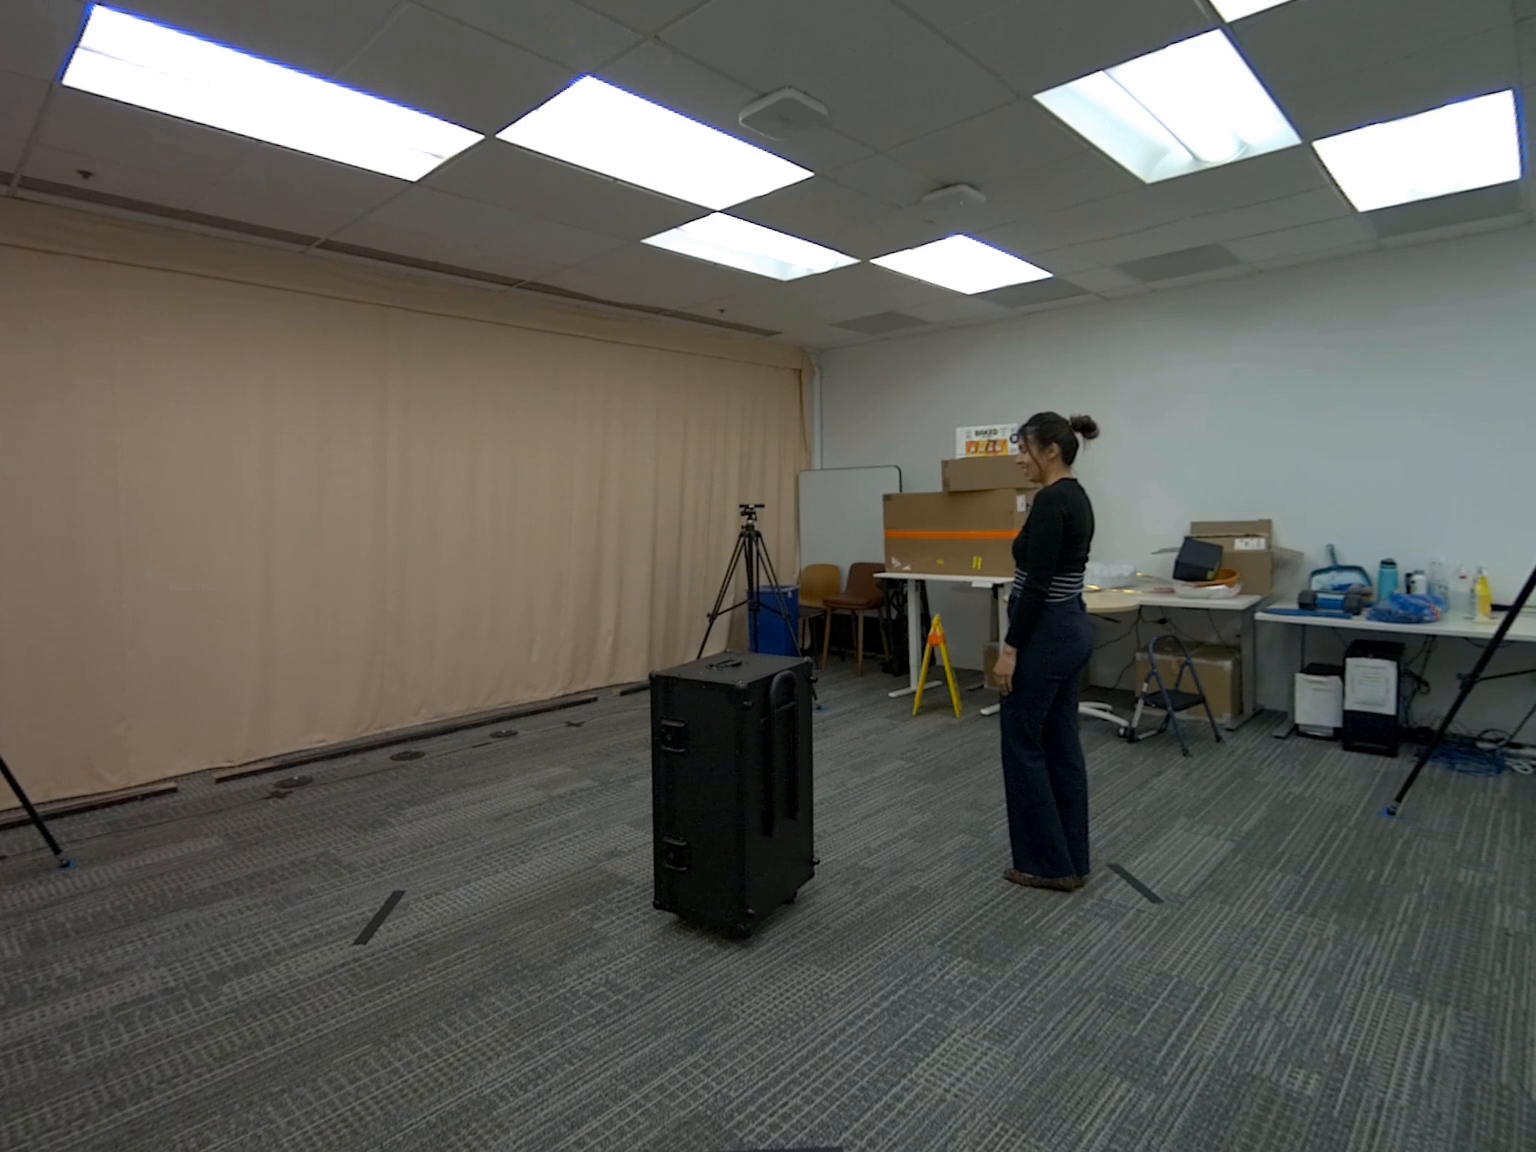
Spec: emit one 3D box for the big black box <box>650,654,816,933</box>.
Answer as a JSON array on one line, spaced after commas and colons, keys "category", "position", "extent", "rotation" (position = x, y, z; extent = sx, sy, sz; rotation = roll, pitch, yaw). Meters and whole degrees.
[{"category": "big black box", "position": [-0.093, 0.727, 2.861], "extent": [0.408, 0.859, 0.507], "rotation": [3, 5, 31]}]
